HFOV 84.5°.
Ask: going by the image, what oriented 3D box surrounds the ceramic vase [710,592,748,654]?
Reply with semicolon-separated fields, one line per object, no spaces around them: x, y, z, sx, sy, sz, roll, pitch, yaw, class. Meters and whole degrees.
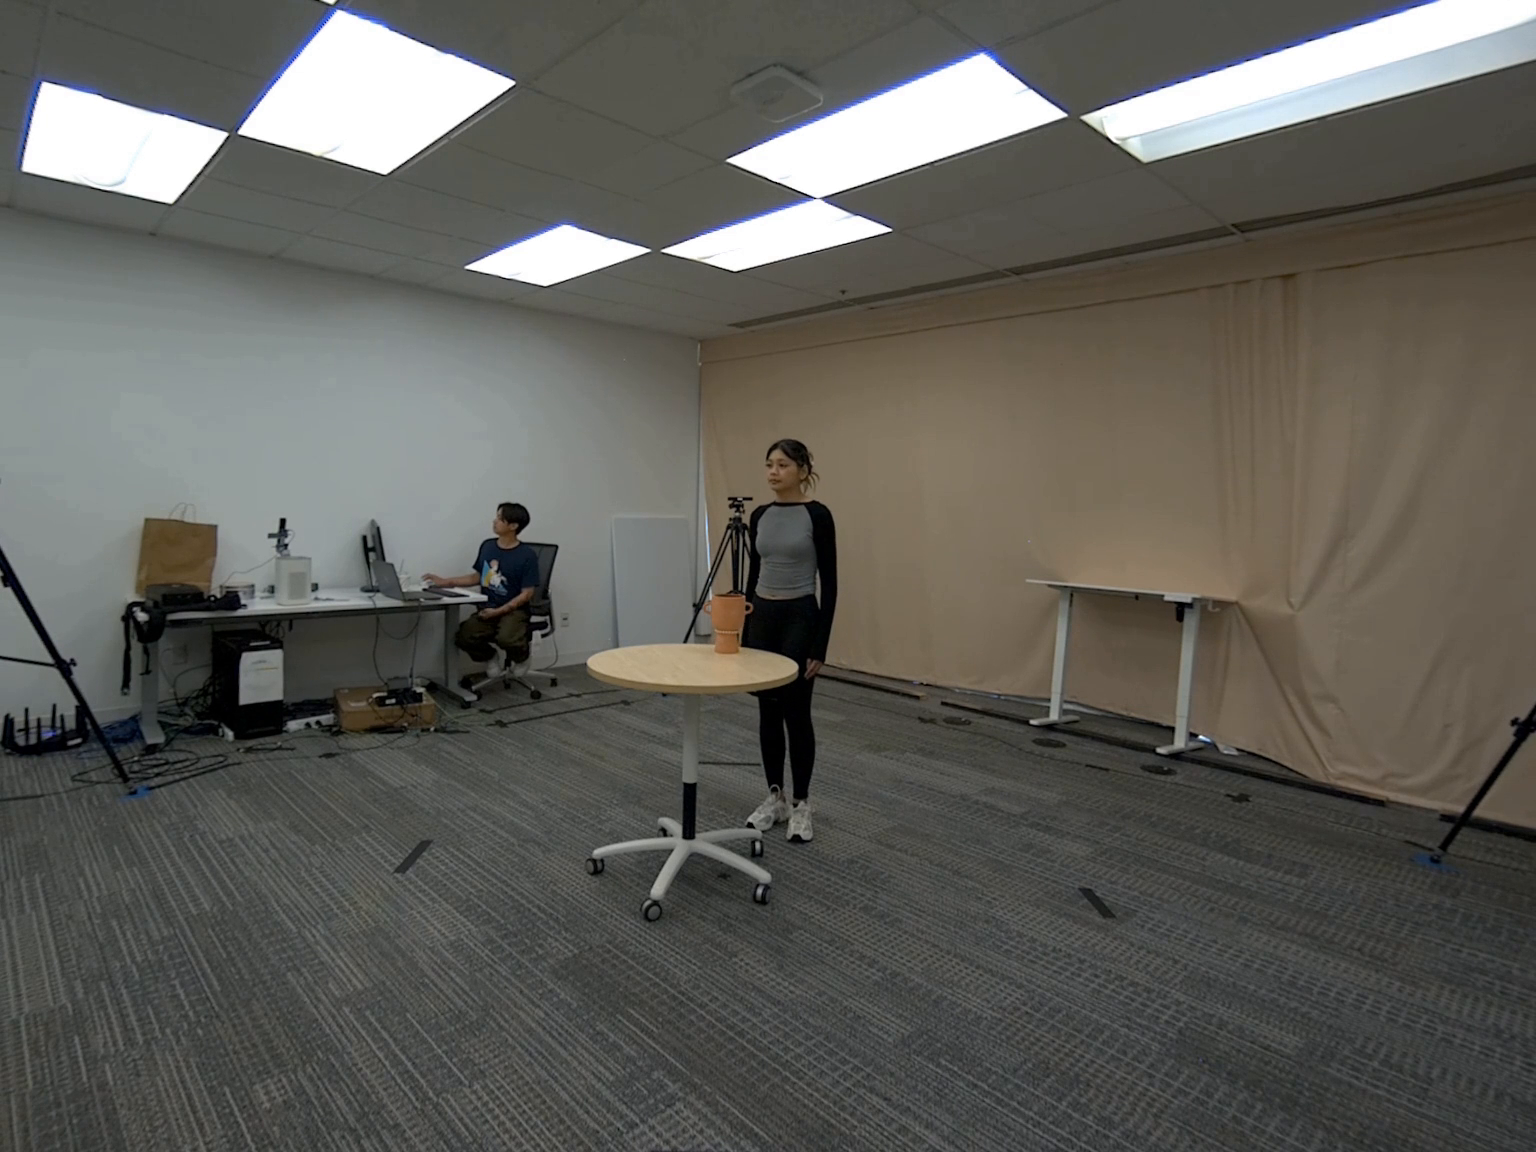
-0.171;0.188;3.293;0.162;0.219;0.132;2;4;30;ceramic vase
